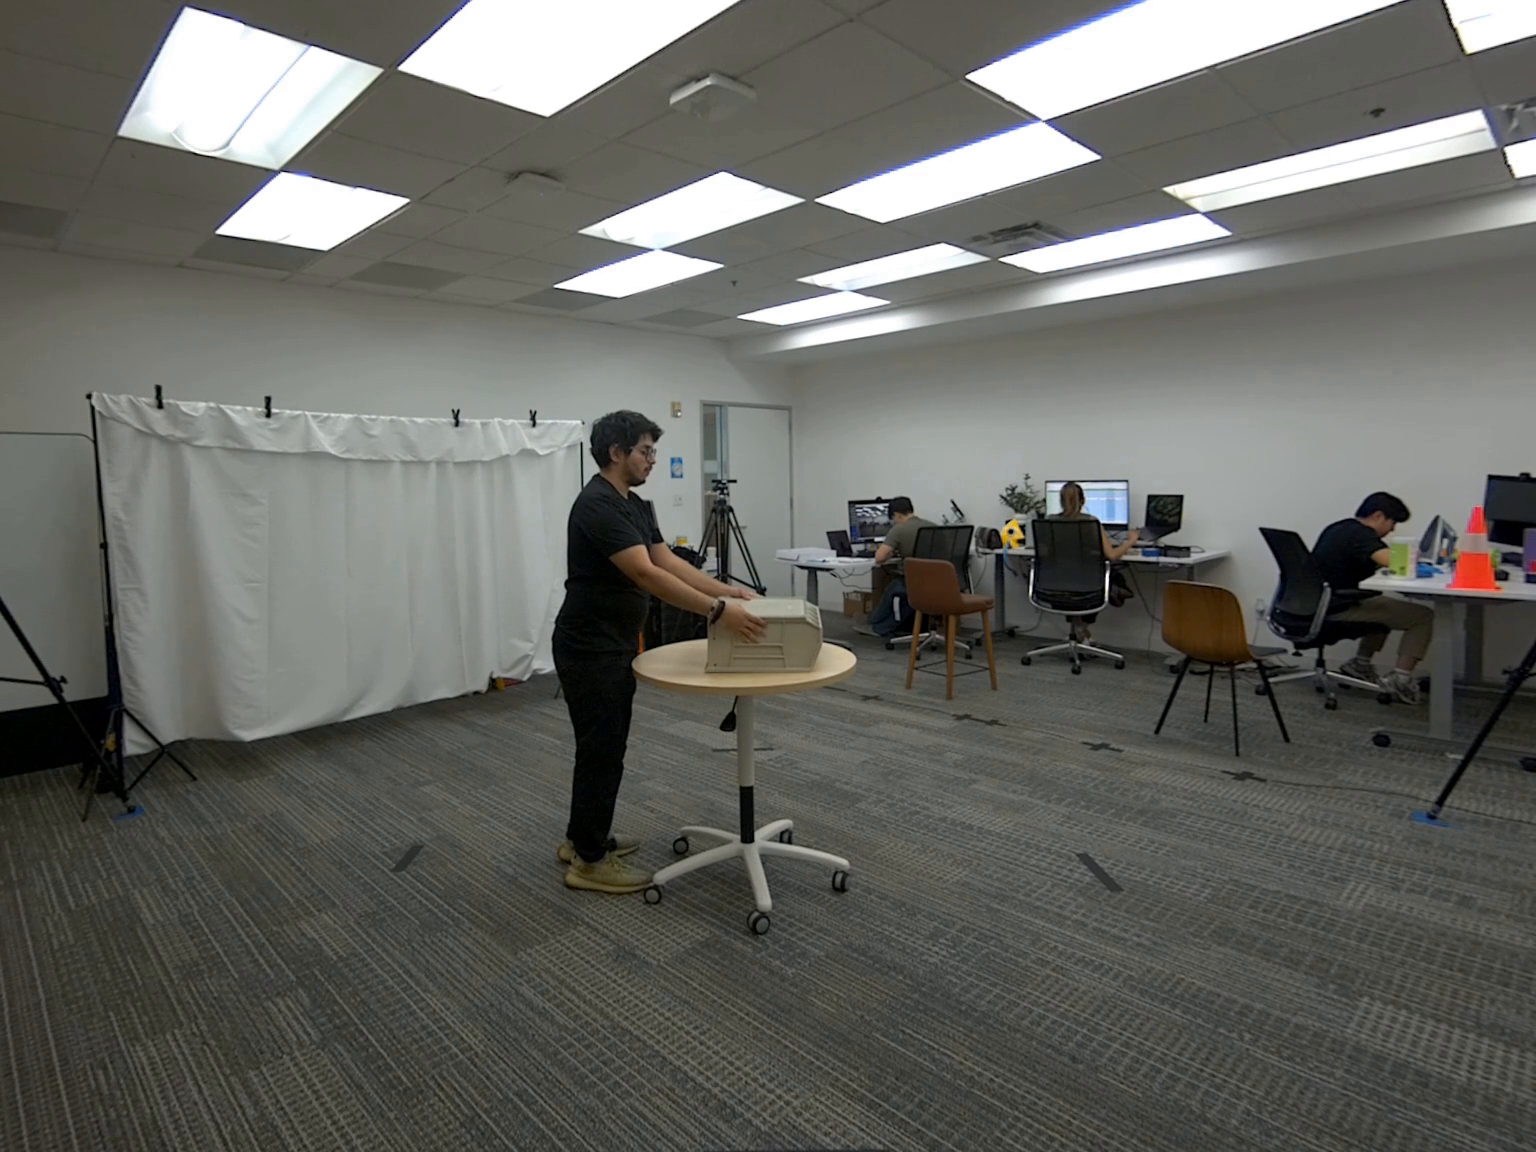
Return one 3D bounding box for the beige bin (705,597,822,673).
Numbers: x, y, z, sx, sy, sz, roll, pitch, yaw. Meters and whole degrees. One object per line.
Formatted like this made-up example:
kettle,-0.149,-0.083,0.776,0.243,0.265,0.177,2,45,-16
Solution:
beige bin,-0.005,0.191,2.911,0.378,0.188,0.423,0,7,2
